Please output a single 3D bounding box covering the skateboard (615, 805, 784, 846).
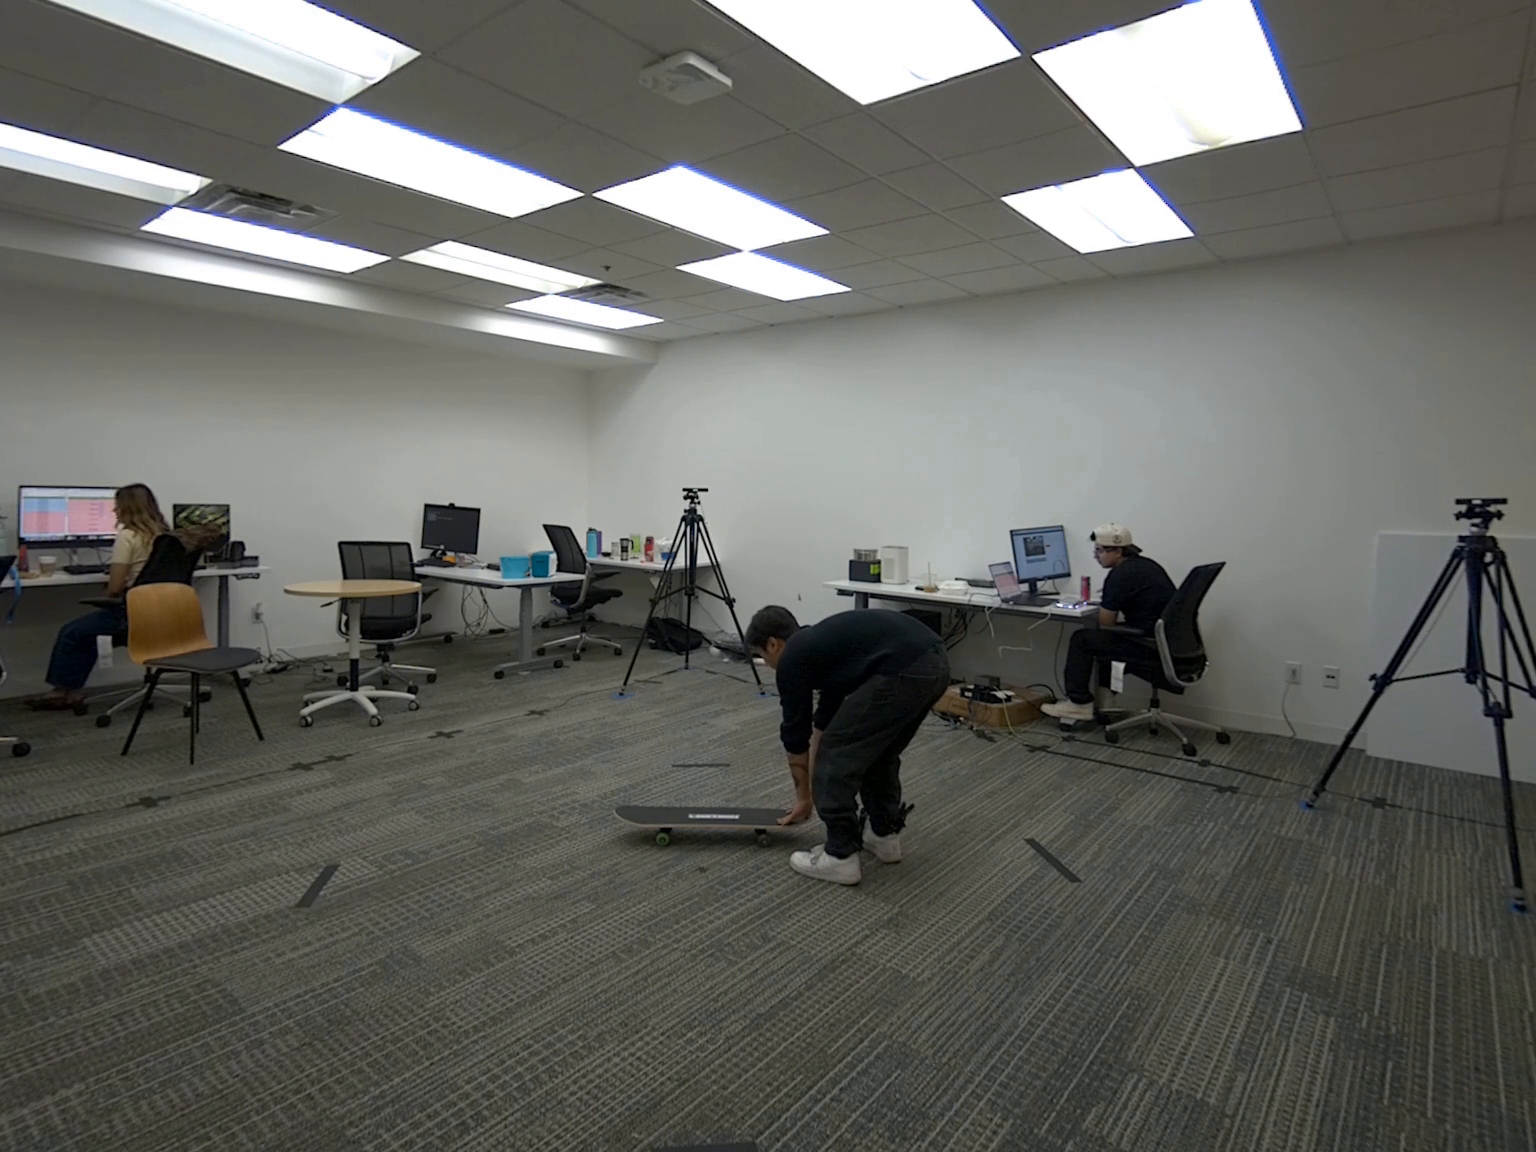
[{"bbox_3d":[-0.231,0.988,3.396,0.783,0.110,0.194,1,4,-2],"label":"skateboard"}]
